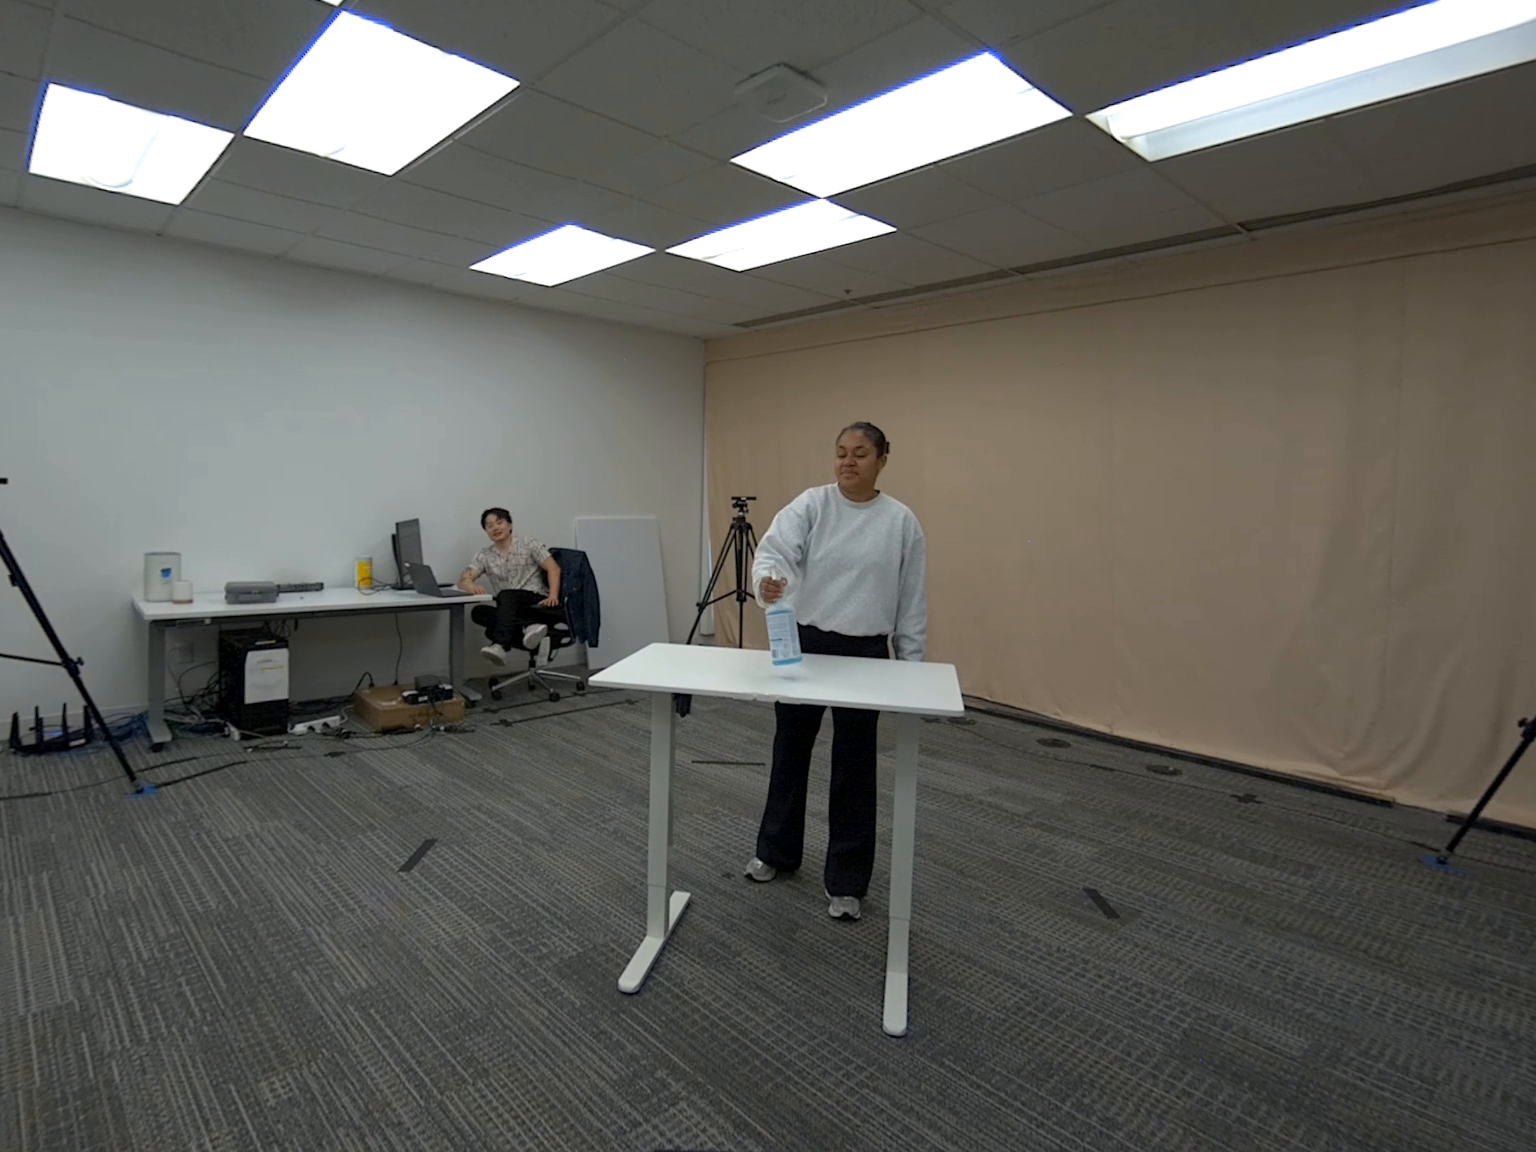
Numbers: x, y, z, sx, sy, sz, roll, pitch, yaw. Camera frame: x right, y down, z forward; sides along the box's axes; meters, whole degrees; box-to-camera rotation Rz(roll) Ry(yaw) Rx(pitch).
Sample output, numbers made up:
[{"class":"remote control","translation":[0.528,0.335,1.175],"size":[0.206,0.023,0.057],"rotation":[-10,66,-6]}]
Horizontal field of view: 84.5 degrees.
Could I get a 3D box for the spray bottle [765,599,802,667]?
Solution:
[{"class":"spray bottle","translation":[0.015,0.107,2.433],"size":[0.088,0.299,0.088],"rotation":[-13,-7,30]}]
